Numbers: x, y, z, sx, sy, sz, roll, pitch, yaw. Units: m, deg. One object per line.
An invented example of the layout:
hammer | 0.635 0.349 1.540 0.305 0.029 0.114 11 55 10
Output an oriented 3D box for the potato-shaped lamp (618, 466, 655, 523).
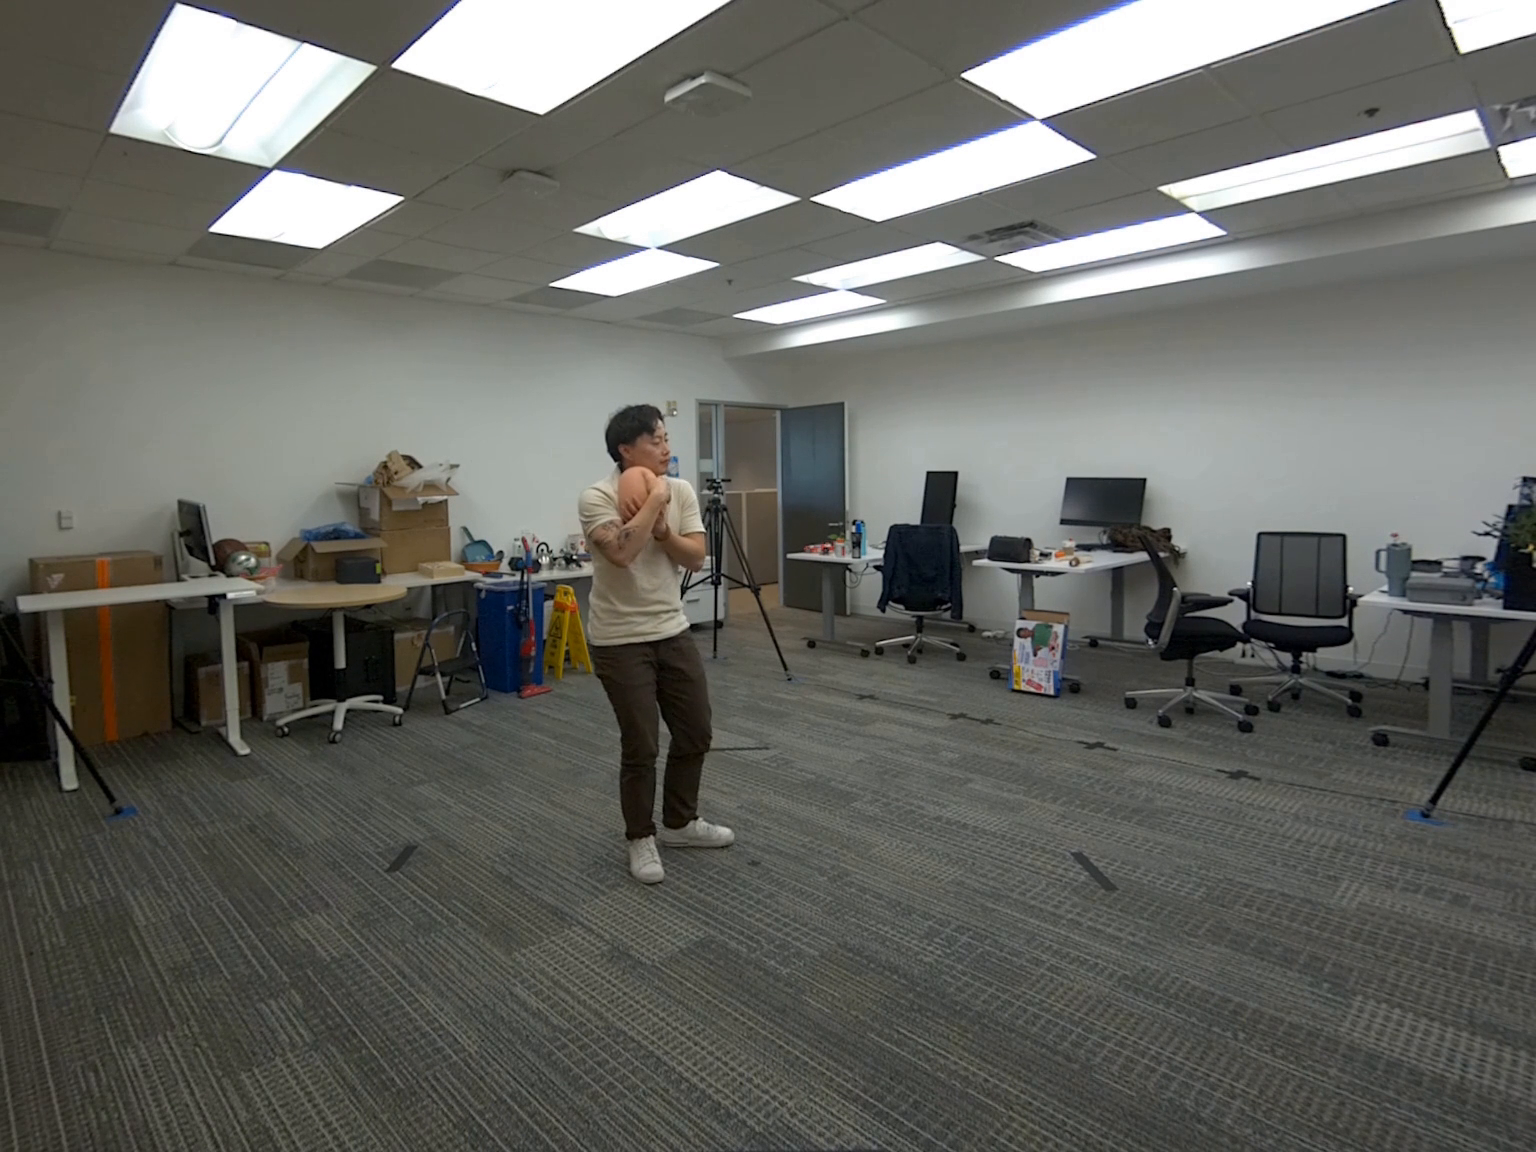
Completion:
potato-shaped lamp | -0.451 -0.284 2.968 0.161 0.204 0.170 -6 -31 -28
